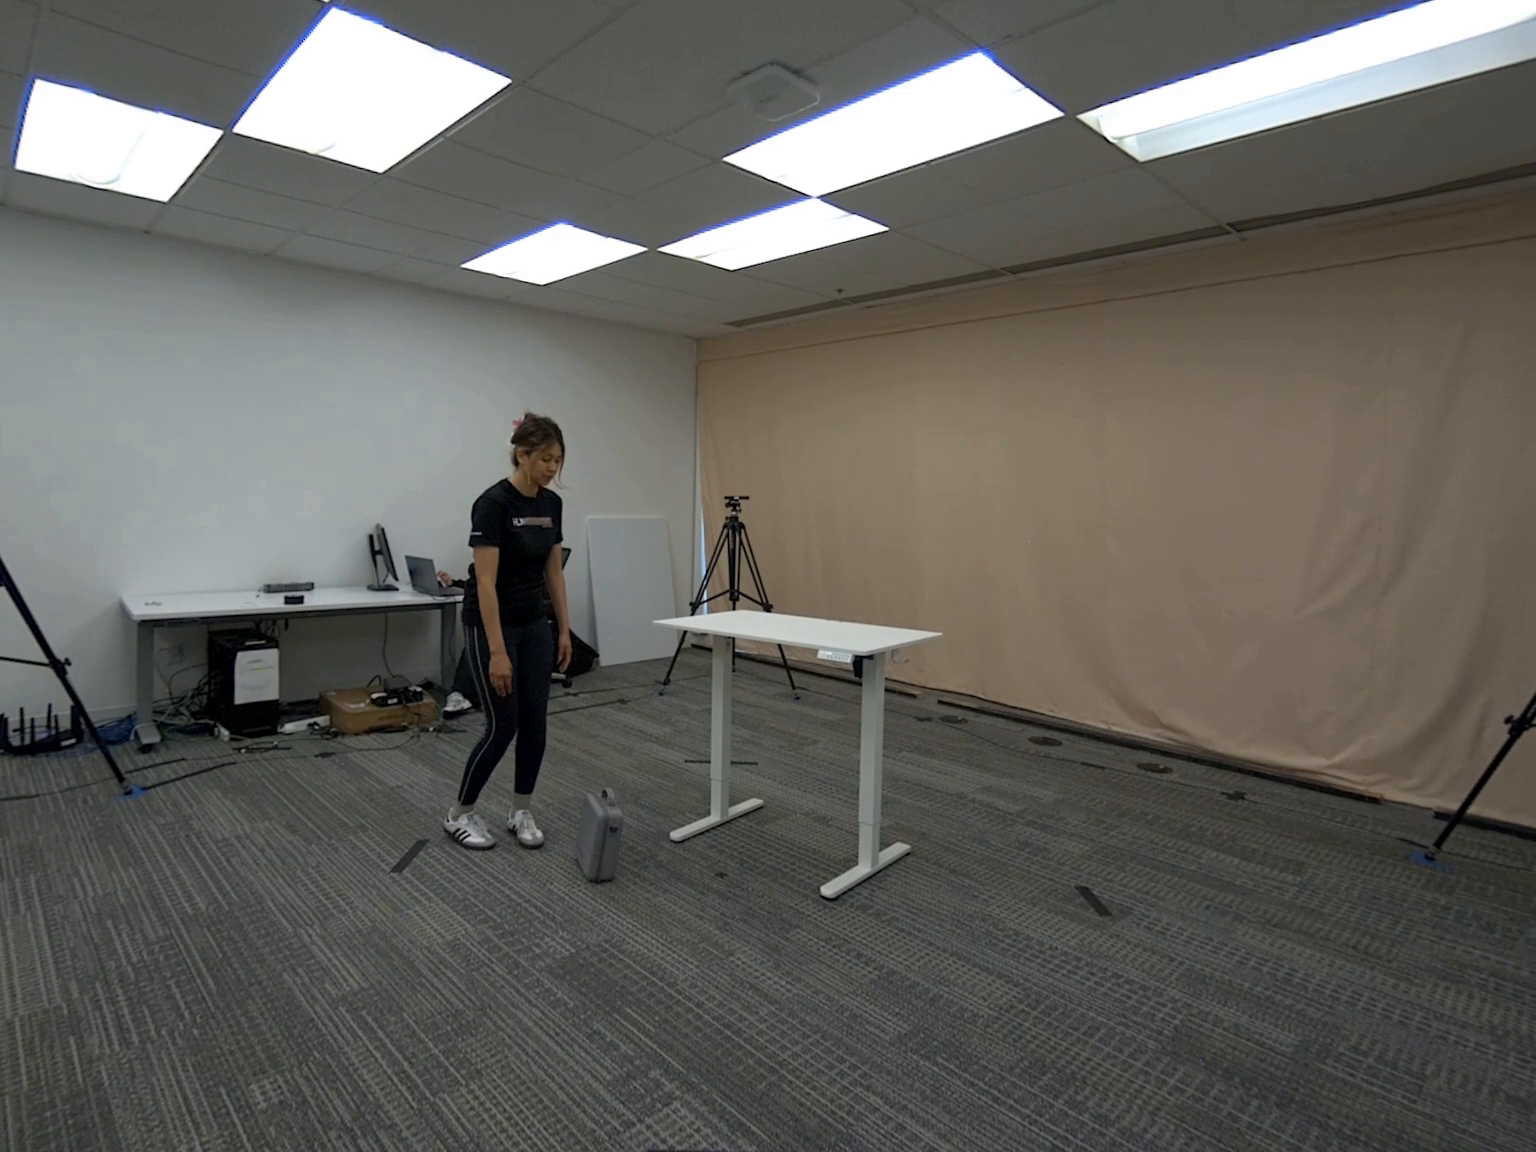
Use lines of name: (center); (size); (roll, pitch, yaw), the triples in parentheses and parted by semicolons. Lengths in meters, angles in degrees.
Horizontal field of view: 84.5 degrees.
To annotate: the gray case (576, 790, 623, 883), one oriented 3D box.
gray case: (-0.633, 0.955, 3.117); (0.102, 0.260, 0.262); (9, 2, -23)
